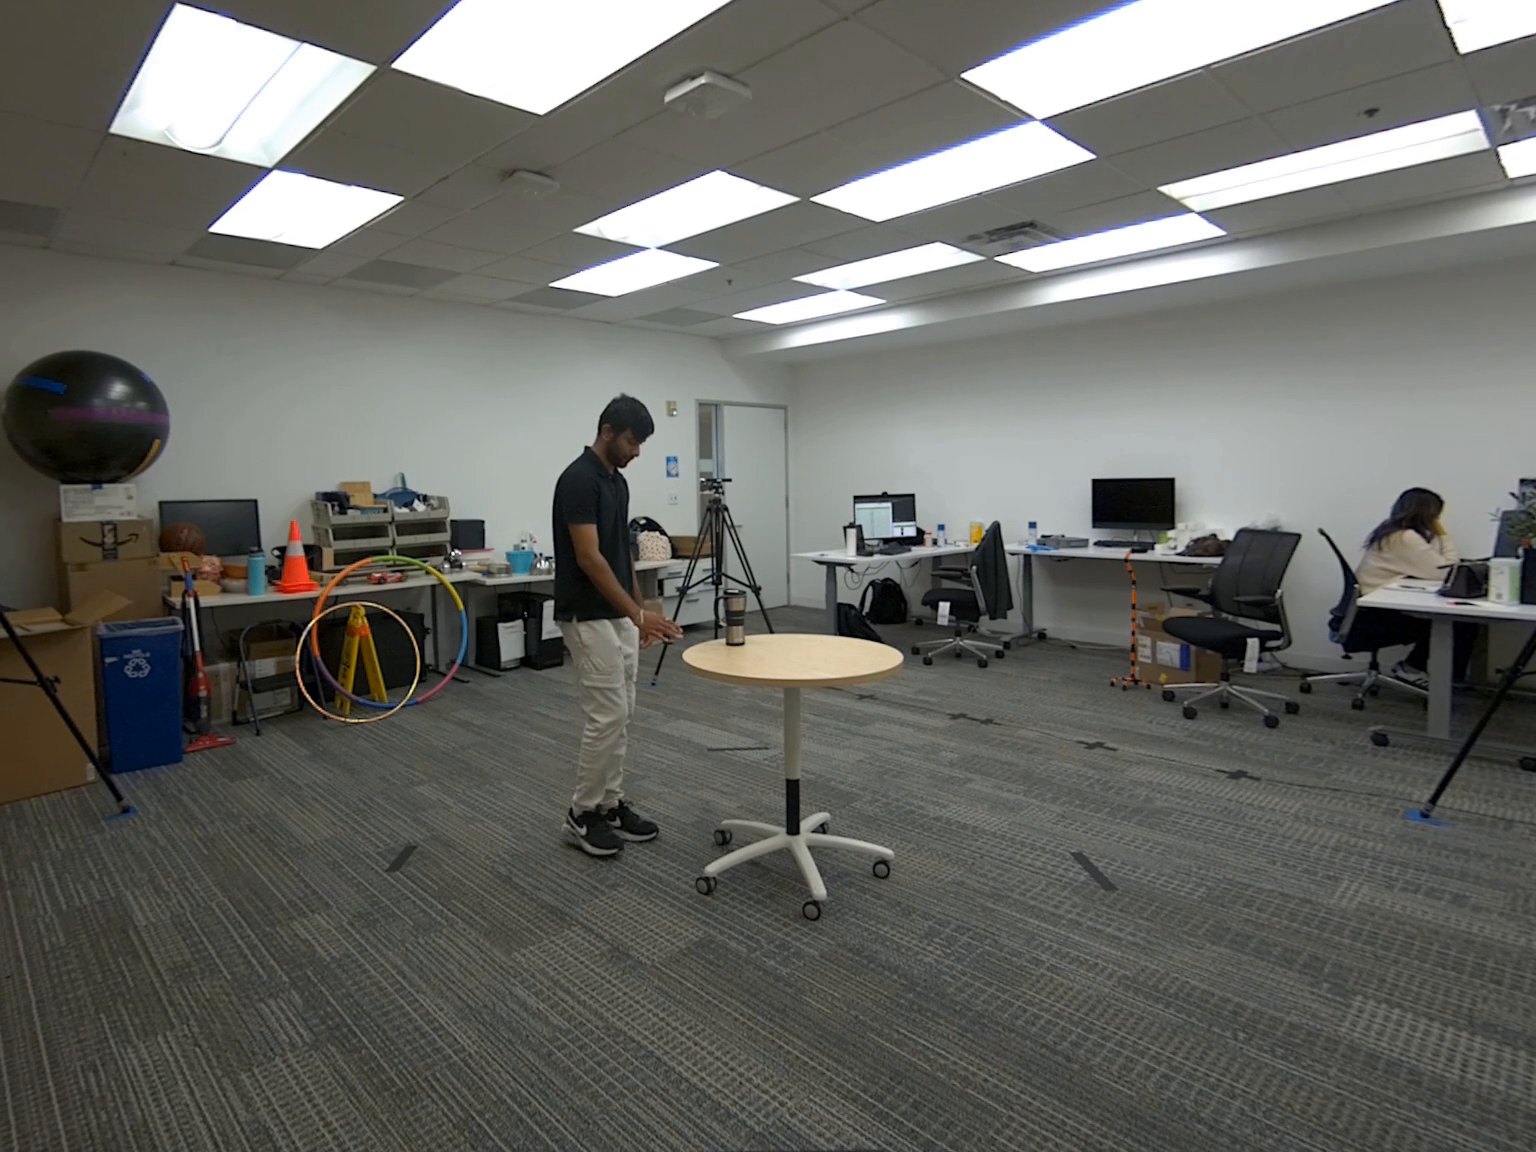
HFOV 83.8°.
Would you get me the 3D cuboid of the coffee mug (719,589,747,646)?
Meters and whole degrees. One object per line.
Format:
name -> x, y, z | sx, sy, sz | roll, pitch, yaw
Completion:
coffee mug -> -0.137, 0.152, 3.178 | 0.086, 0.202, 0.126 | -7, 9, -40
